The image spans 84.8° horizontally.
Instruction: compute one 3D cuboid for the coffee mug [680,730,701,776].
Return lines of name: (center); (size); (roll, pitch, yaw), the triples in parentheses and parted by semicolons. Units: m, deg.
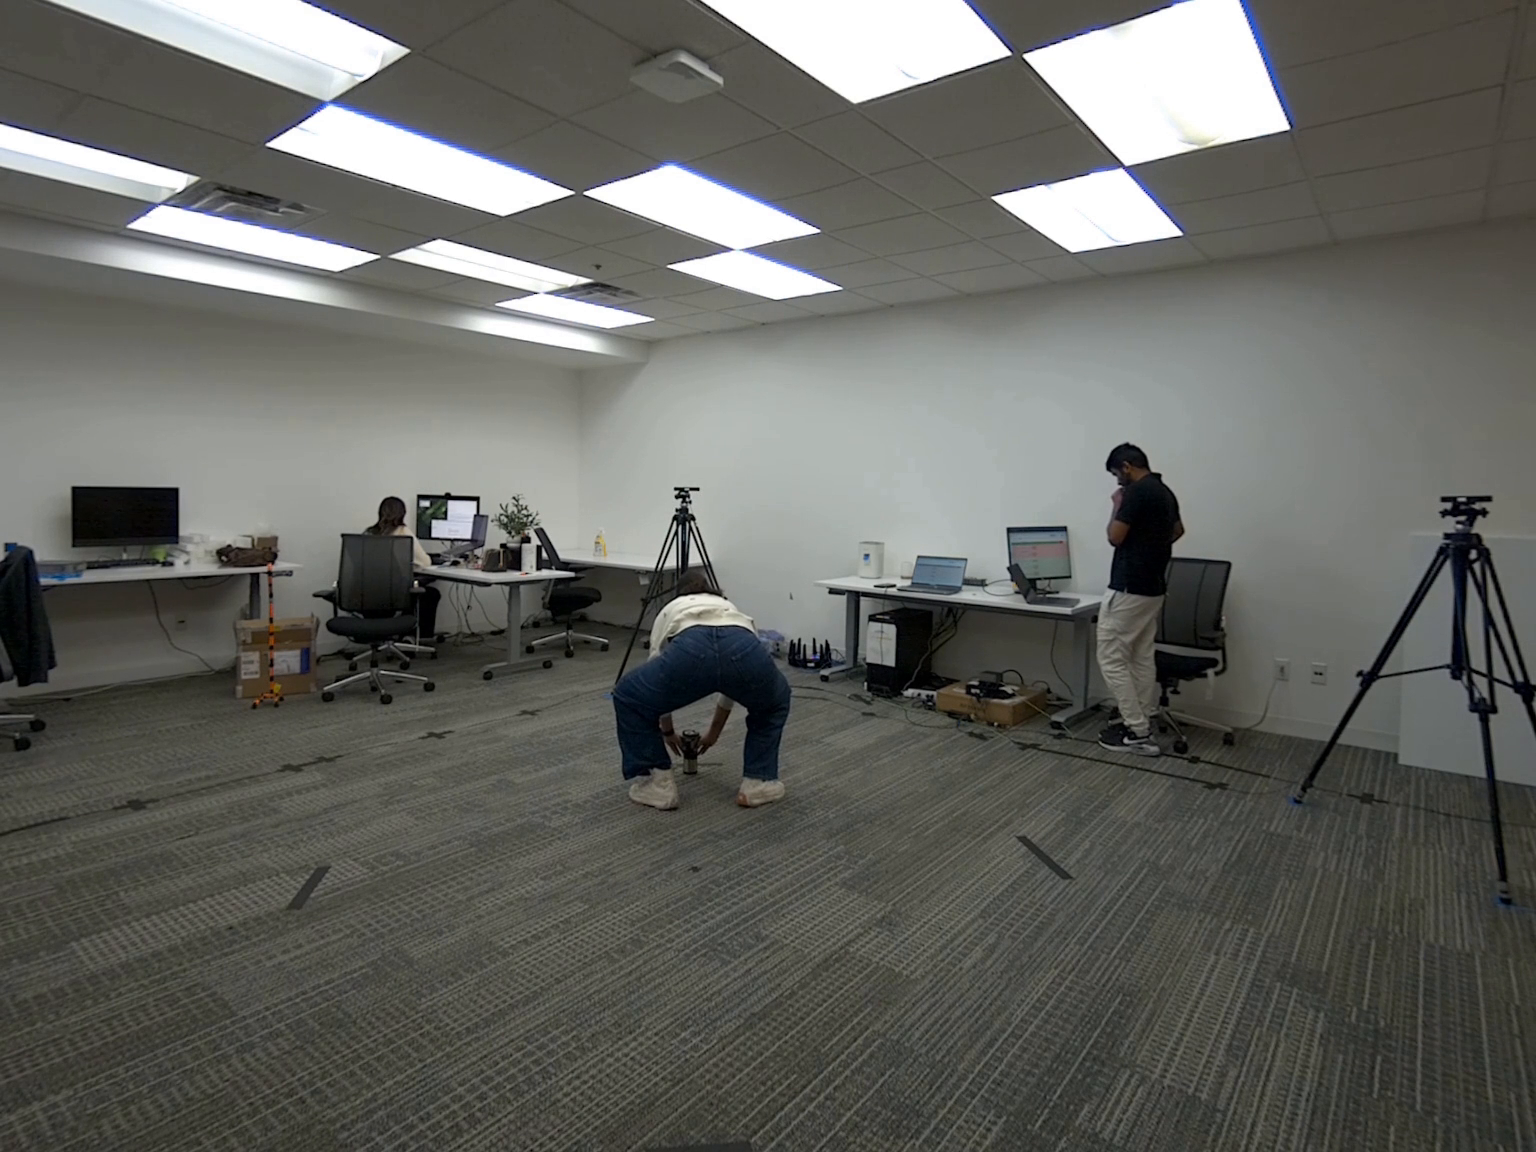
coffee mug: (-0.382, 0.862, 4.180); (0.090, 0.201, 0.119); (1, 8, 31)
